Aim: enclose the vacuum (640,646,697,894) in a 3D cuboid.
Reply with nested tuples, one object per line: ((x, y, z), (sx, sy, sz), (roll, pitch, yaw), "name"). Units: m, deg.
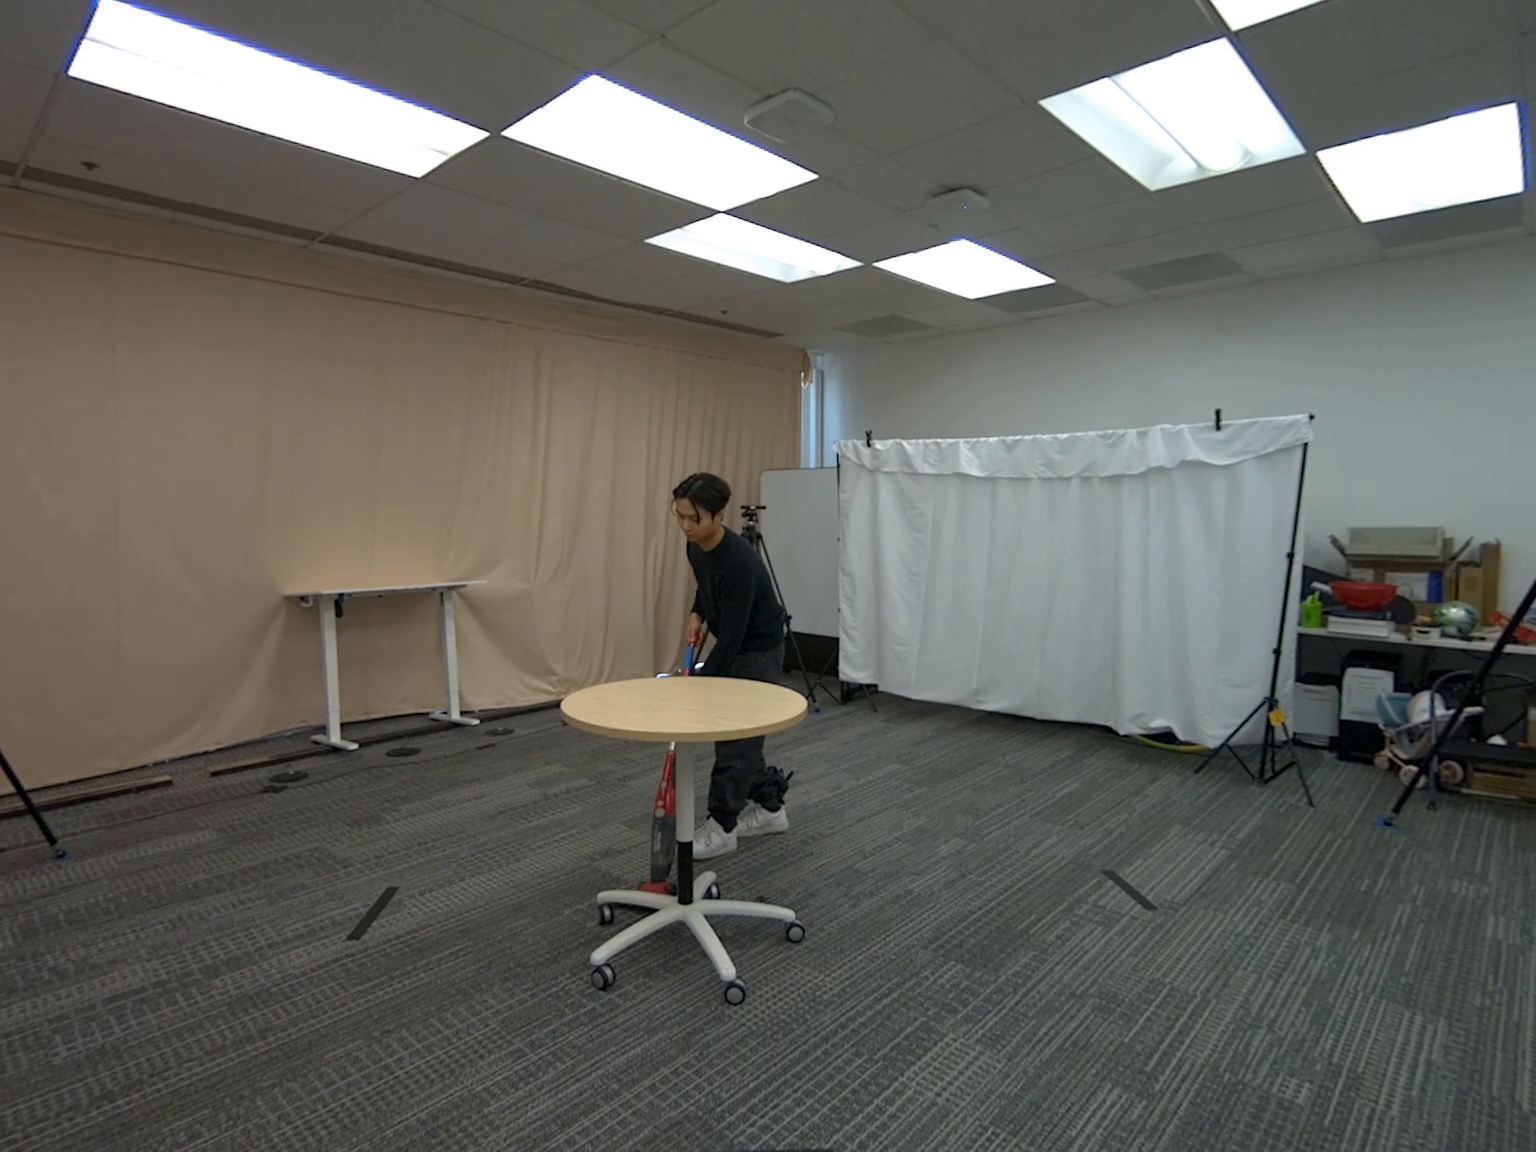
((-0.352, 0.681, 3.237), (0.258, 1.062, 0.139), (-8, -35, 24), "vacuum")
